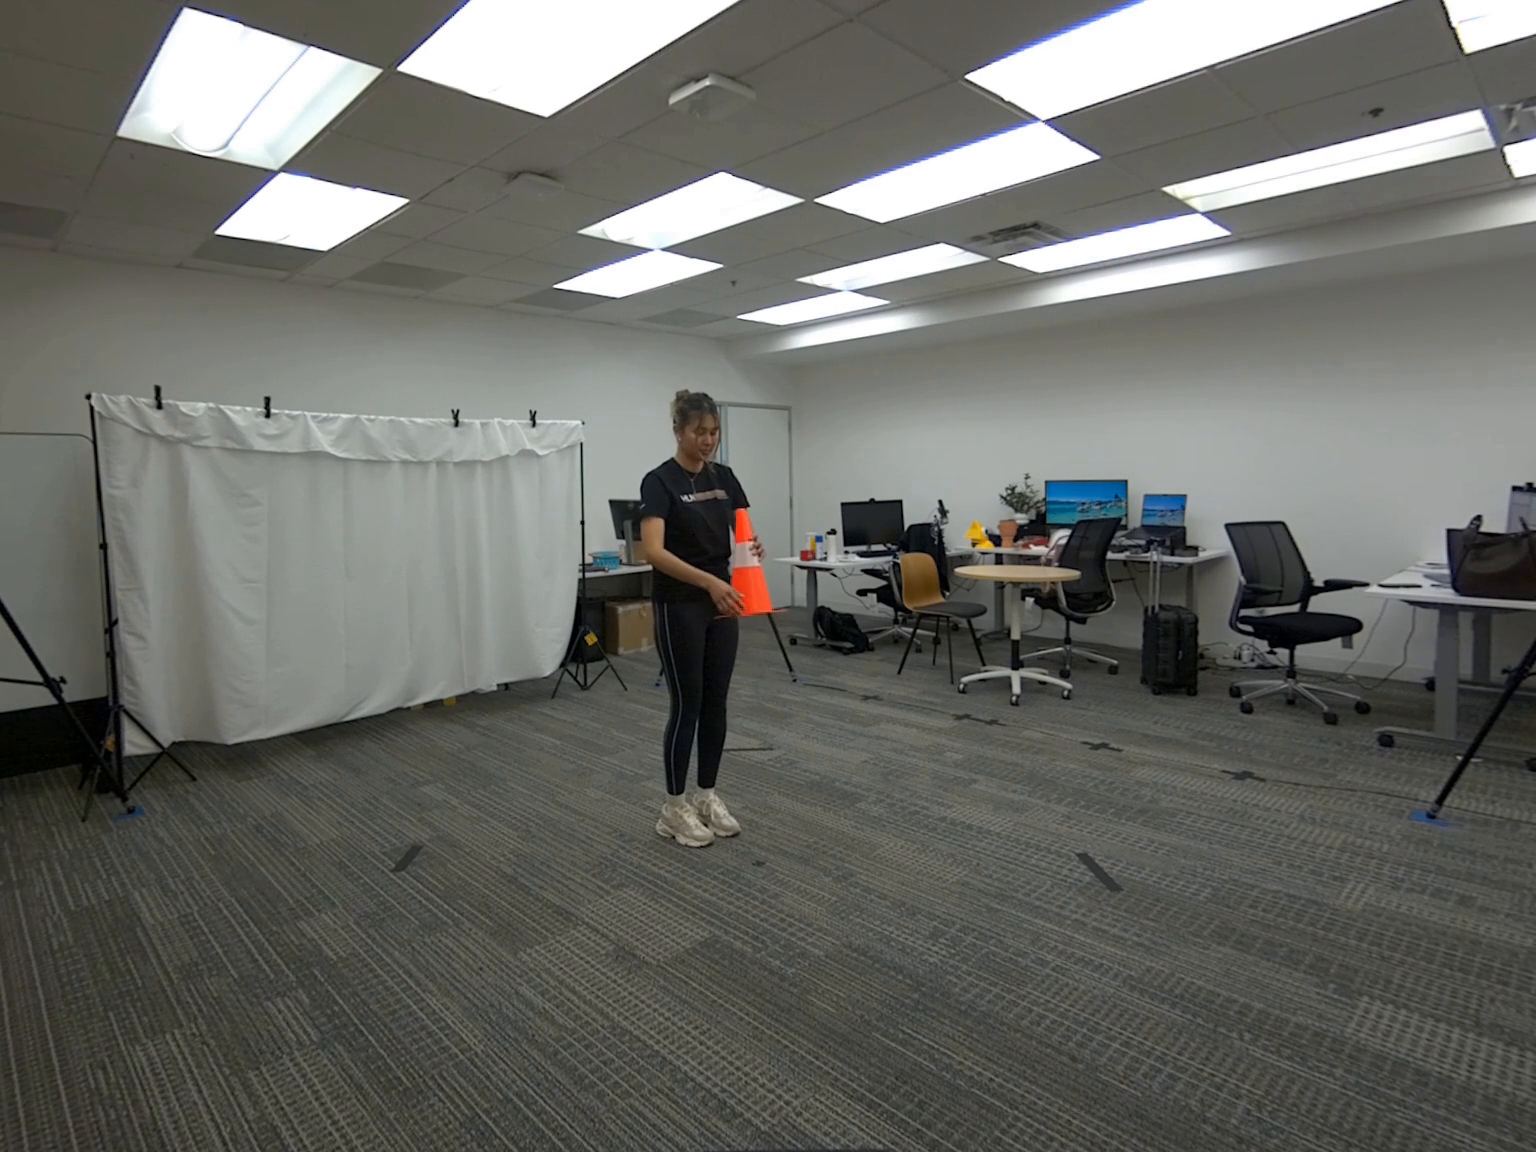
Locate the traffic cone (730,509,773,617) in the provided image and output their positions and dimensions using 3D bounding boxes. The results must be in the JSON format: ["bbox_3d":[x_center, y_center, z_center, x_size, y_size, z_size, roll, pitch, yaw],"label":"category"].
[{"bbox_3d":[-0.077,-0.044,3.073,0.197,0.385,0.210,-2,-4,-44],"label":"traffic cone"}]
